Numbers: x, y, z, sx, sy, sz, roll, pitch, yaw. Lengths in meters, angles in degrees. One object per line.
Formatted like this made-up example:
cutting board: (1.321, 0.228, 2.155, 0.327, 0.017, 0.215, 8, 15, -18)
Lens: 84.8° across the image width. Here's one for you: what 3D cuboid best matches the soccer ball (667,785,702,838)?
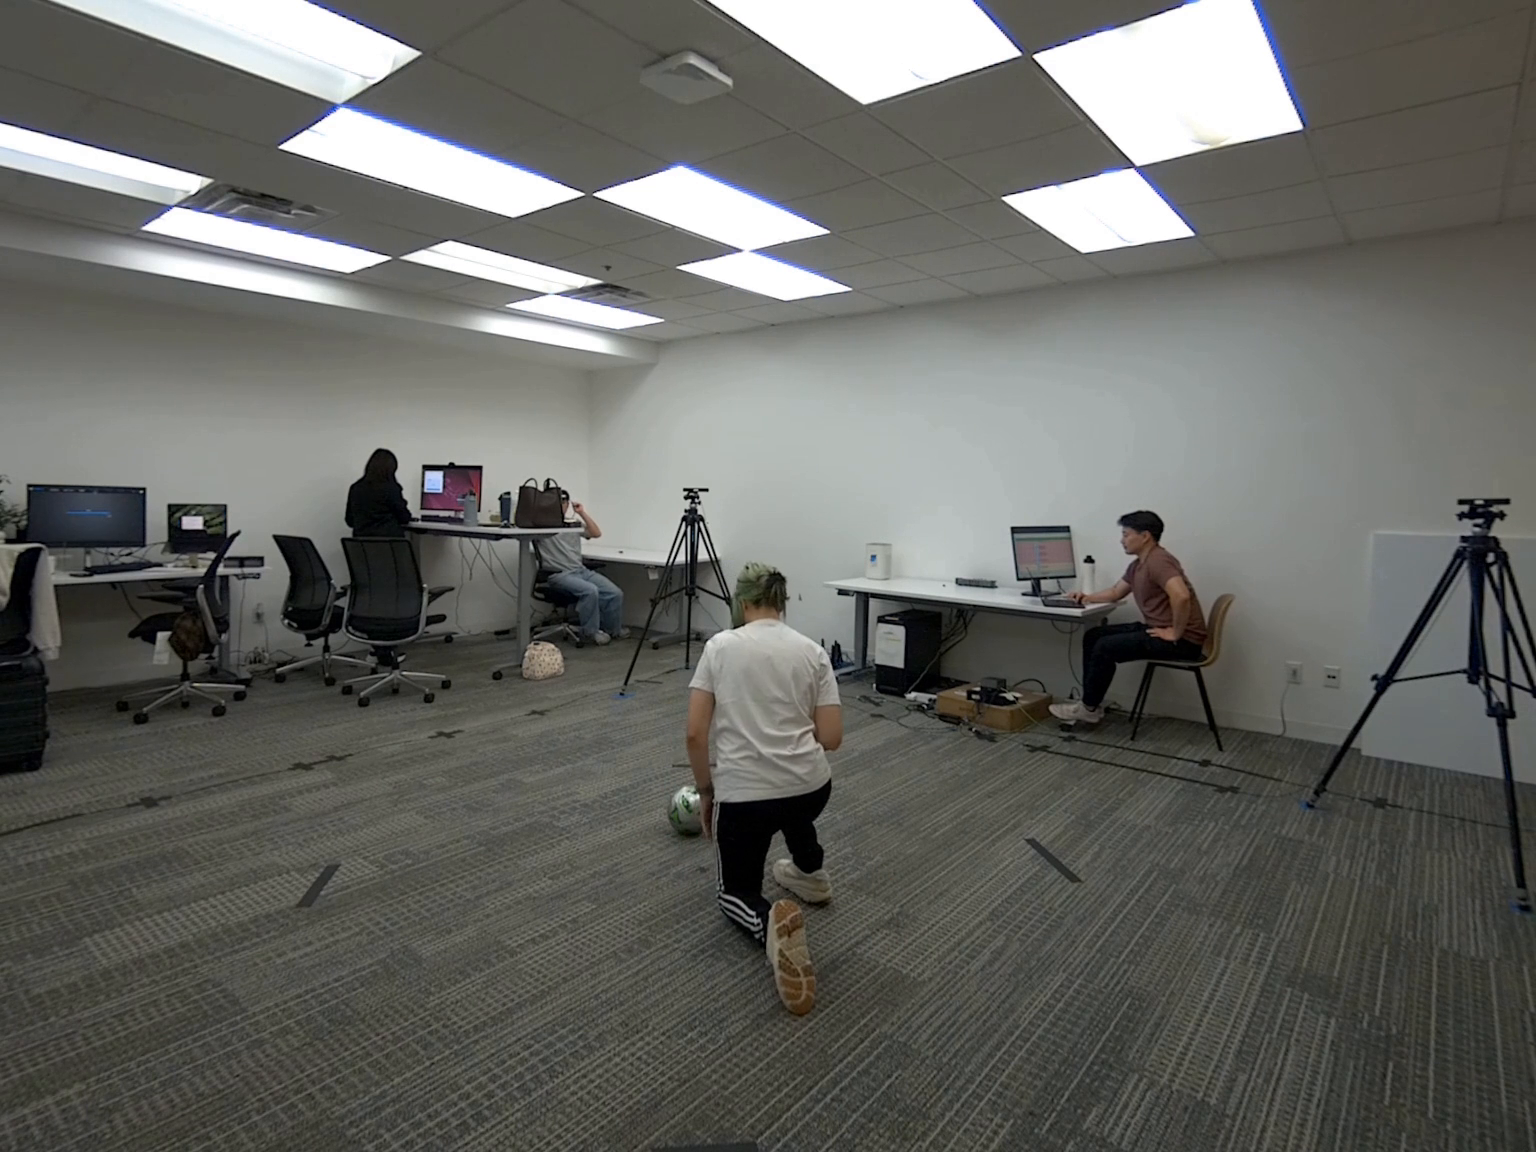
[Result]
soccer ball: (-0.328, 0.942, 3.441, 0.187, 0.187, 0.188, 1, 4, -2)
